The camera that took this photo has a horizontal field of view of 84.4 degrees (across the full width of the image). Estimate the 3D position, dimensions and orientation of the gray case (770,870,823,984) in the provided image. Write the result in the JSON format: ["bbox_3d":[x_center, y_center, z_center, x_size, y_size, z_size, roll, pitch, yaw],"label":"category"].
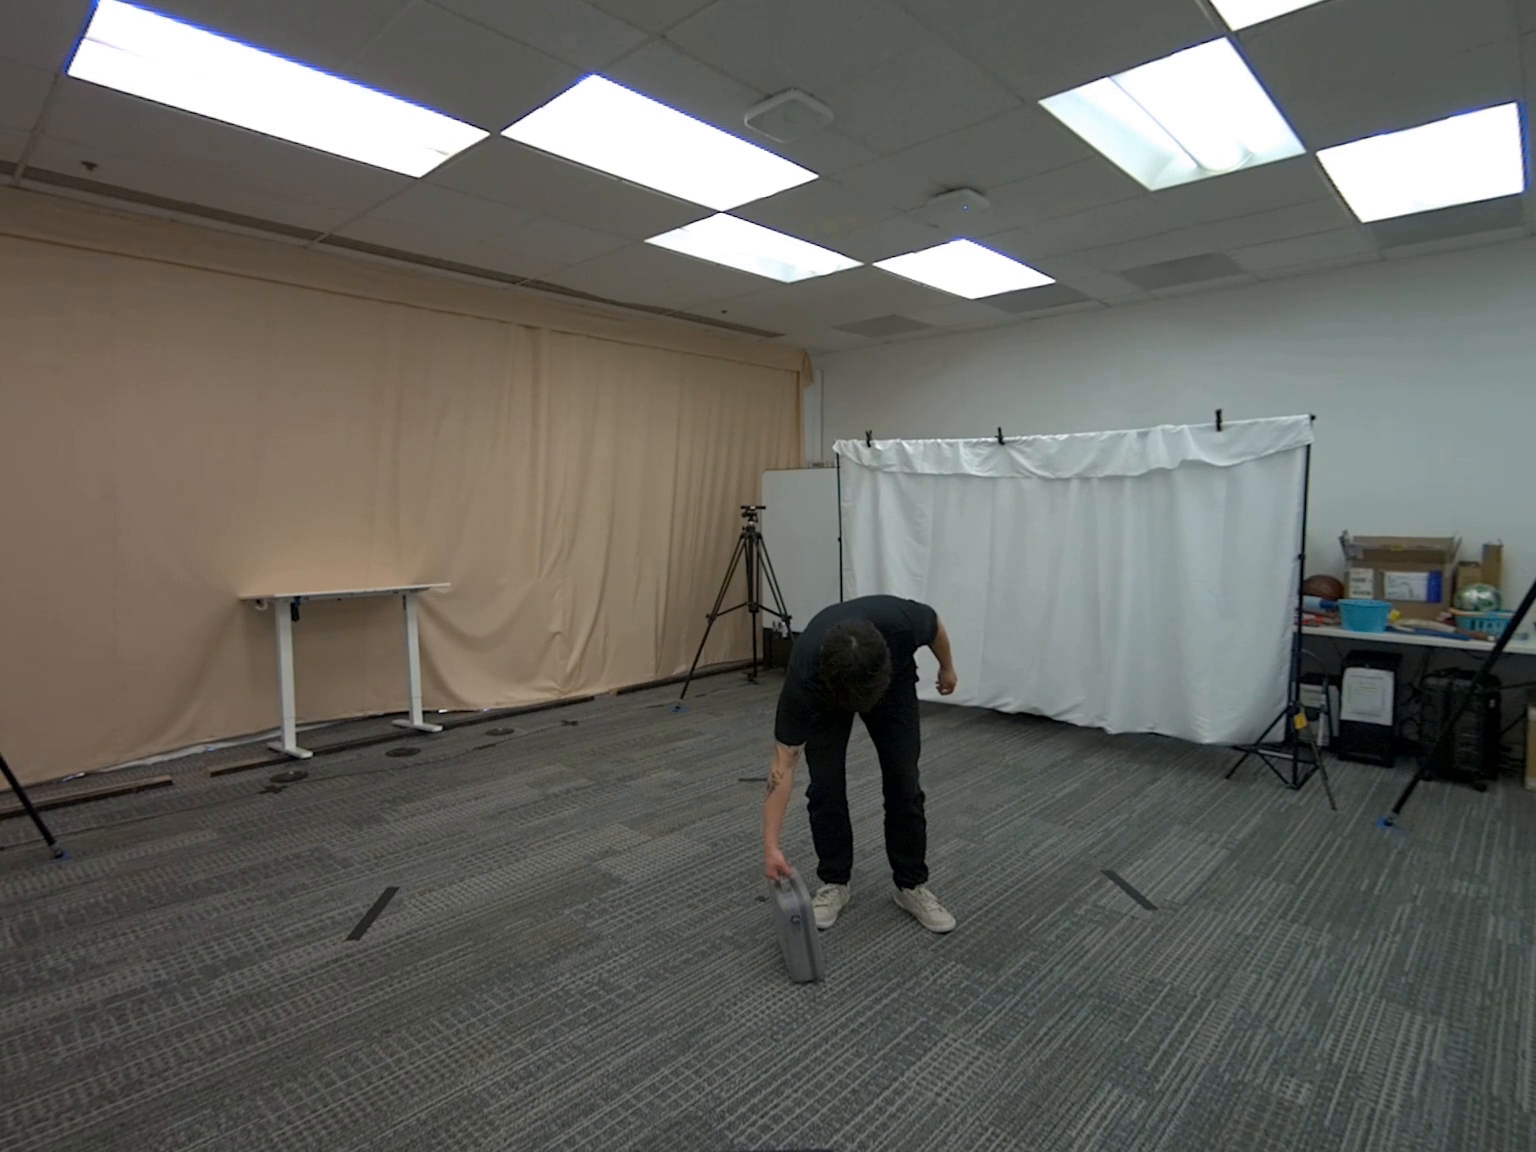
[{"bbox_3d":[0.085,1.049,2.551,0.103,0.260,0.259,-9,4,-9],"label":"gray case"}]
